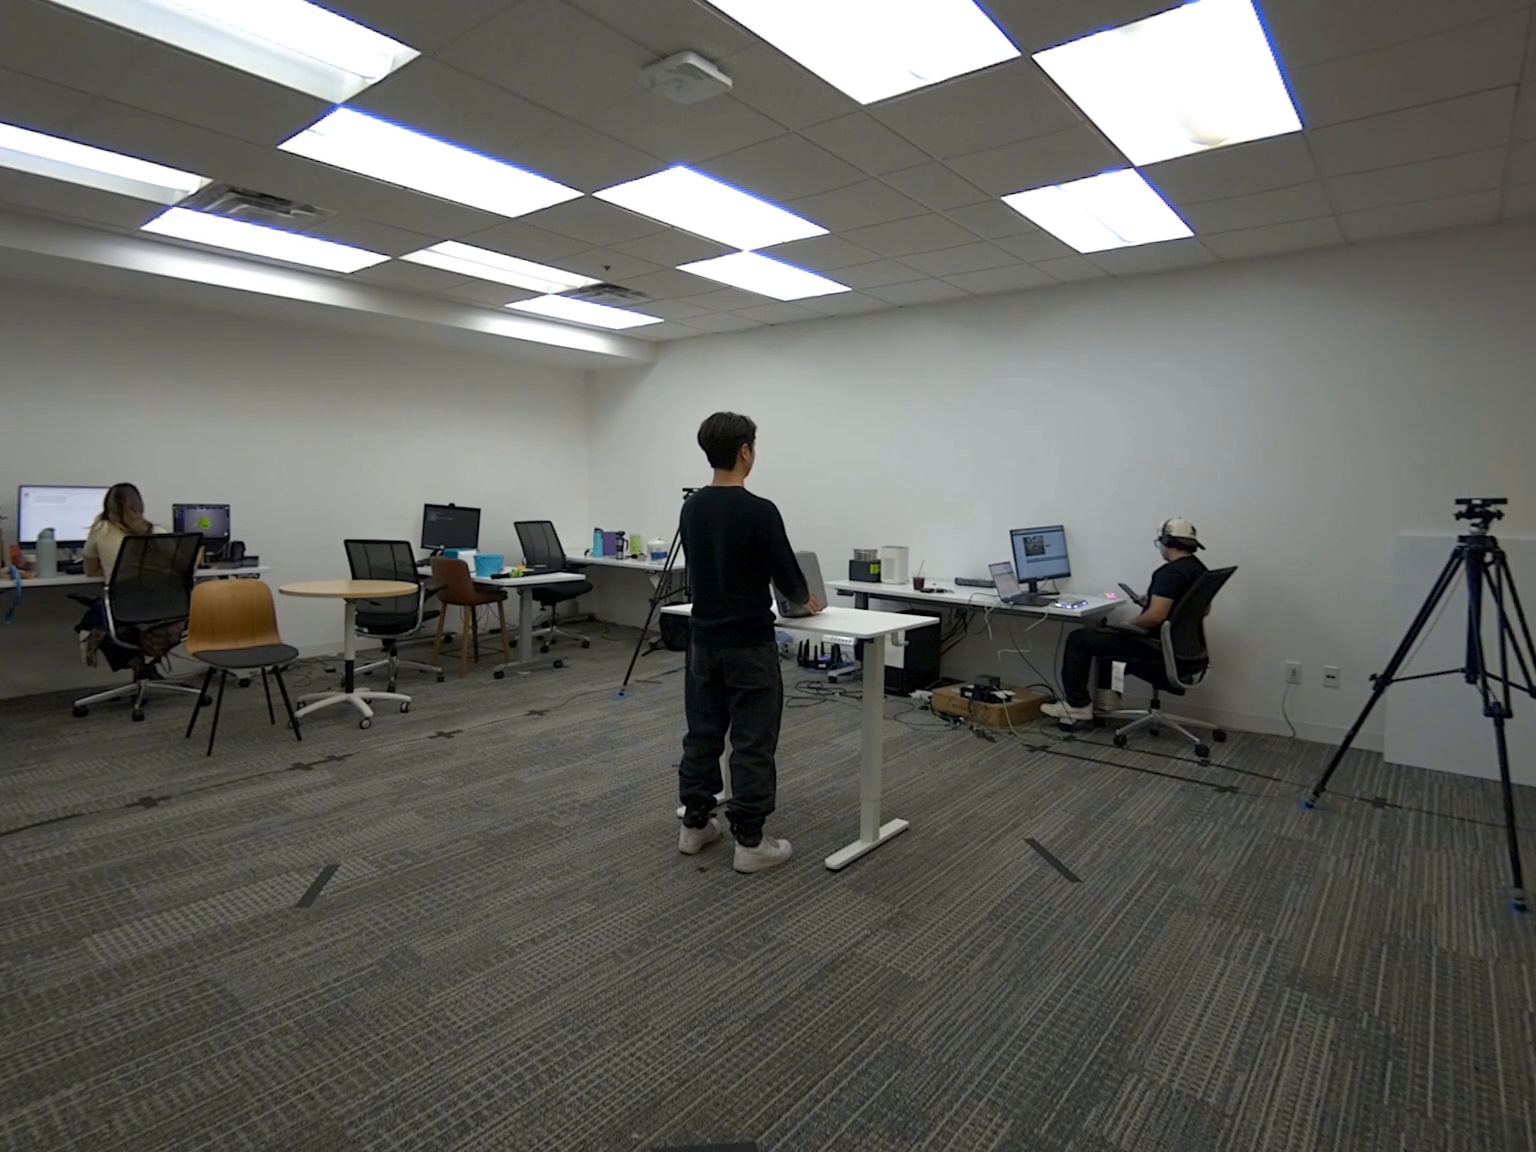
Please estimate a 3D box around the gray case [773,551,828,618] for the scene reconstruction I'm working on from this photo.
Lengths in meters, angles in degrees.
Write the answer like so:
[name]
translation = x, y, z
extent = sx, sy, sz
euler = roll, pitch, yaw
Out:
[gray case]
translation = 0.122, 0.026, 3.502
extent = 0.106, 0.259, 0.253
euler = -18, -9, 34
